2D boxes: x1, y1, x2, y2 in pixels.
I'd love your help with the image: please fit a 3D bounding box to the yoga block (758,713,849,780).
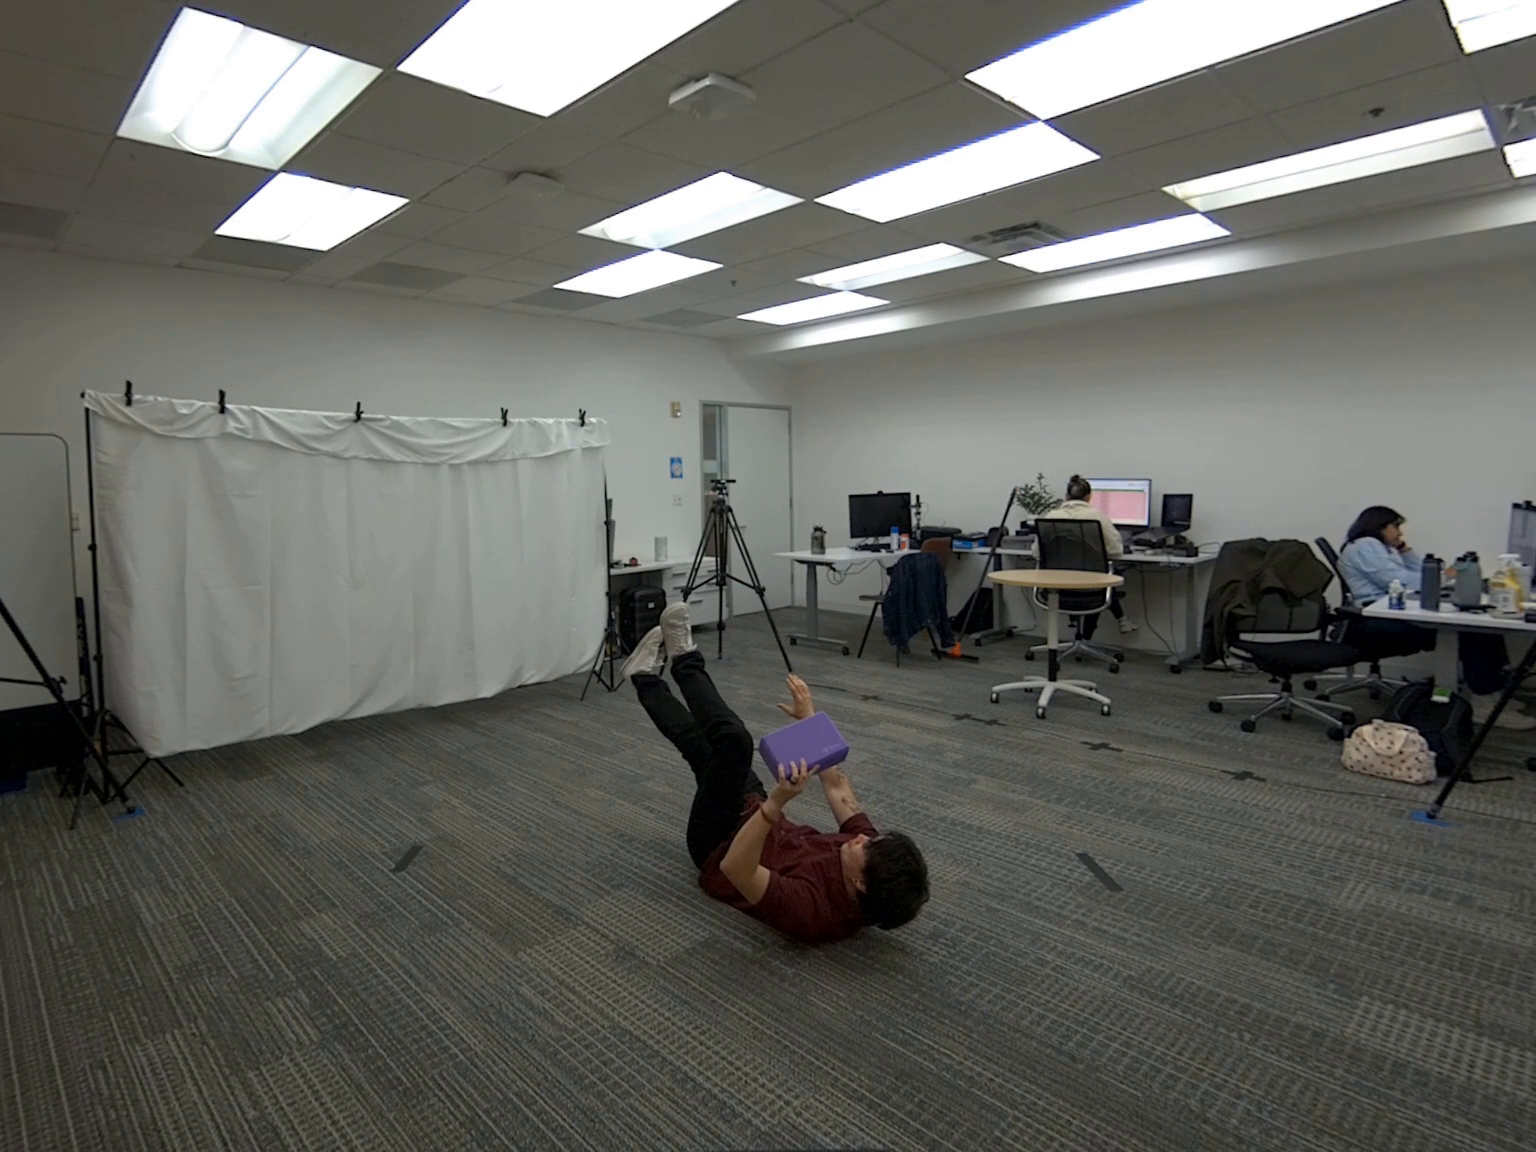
[{"bbox_3d":[0.108,0.508,2.527,0.226,0.075,0.155,-18,50,-24],"label":"yoga block"}]
